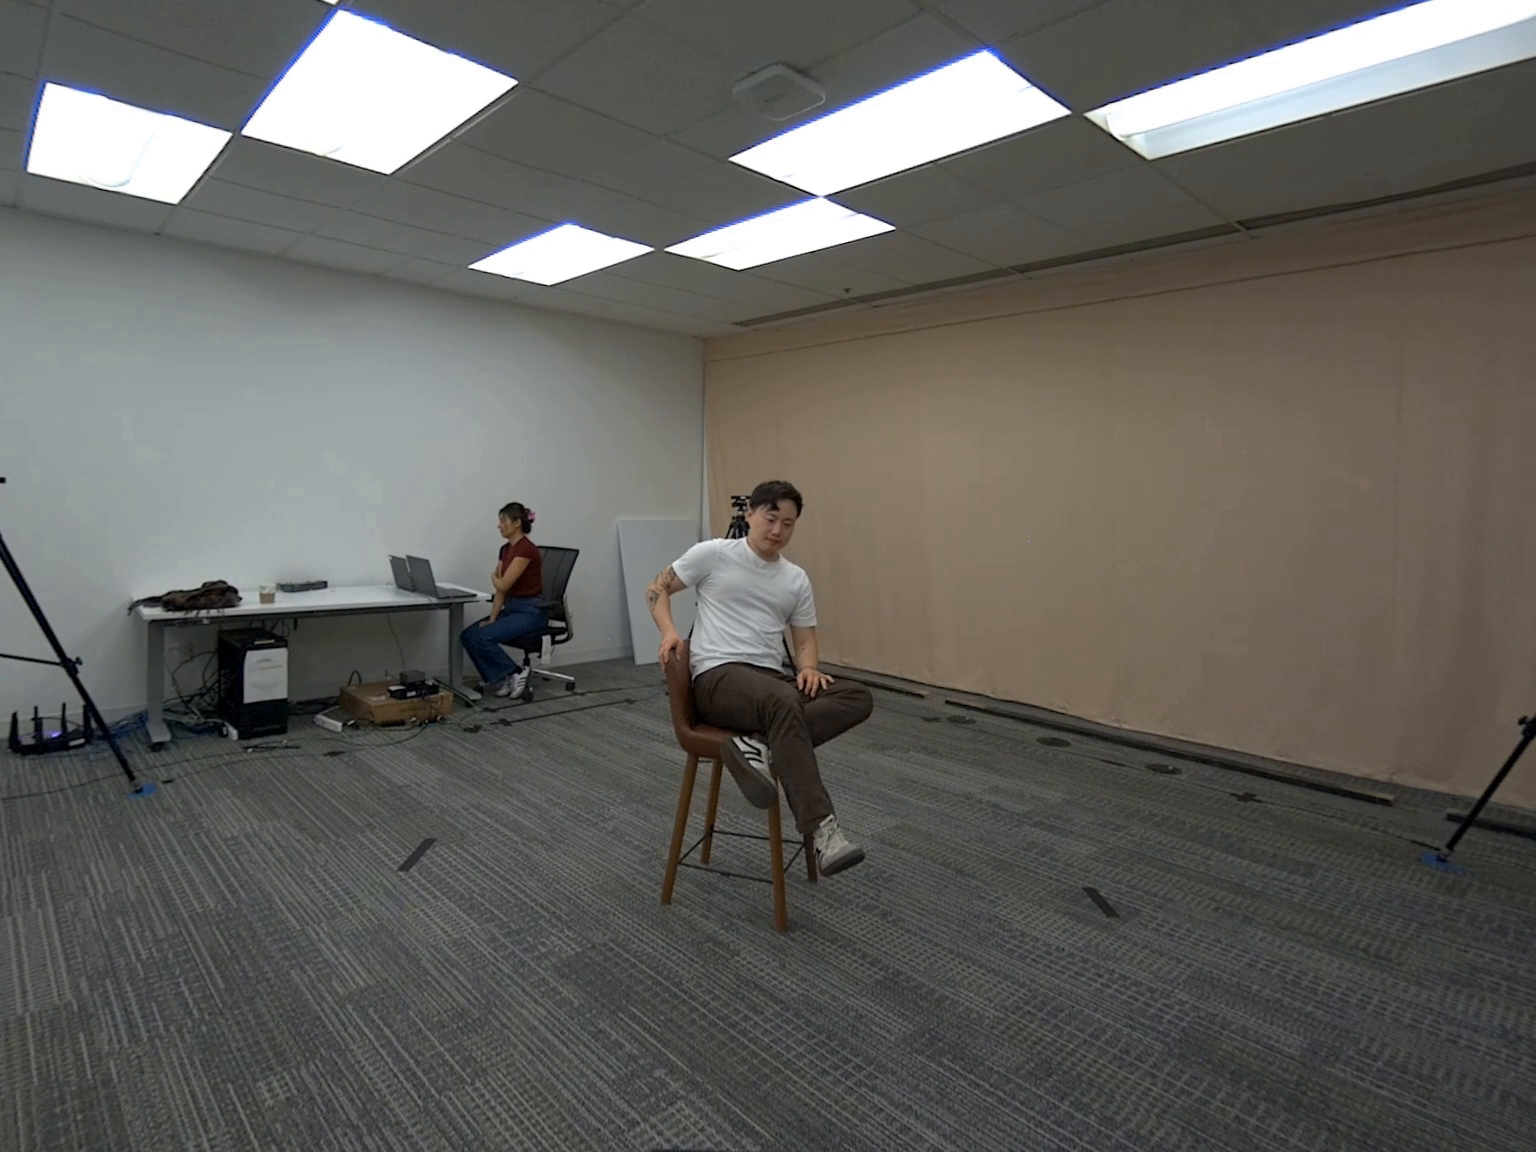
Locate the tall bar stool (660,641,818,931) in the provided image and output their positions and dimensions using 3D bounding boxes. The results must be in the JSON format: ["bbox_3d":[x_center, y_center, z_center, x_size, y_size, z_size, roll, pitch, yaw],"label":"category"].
[{"bbox_3d":[-0.104,0.685,2.943,0.475,0.888,0.450,0,3,21],"label":"tall bar stool"}]
